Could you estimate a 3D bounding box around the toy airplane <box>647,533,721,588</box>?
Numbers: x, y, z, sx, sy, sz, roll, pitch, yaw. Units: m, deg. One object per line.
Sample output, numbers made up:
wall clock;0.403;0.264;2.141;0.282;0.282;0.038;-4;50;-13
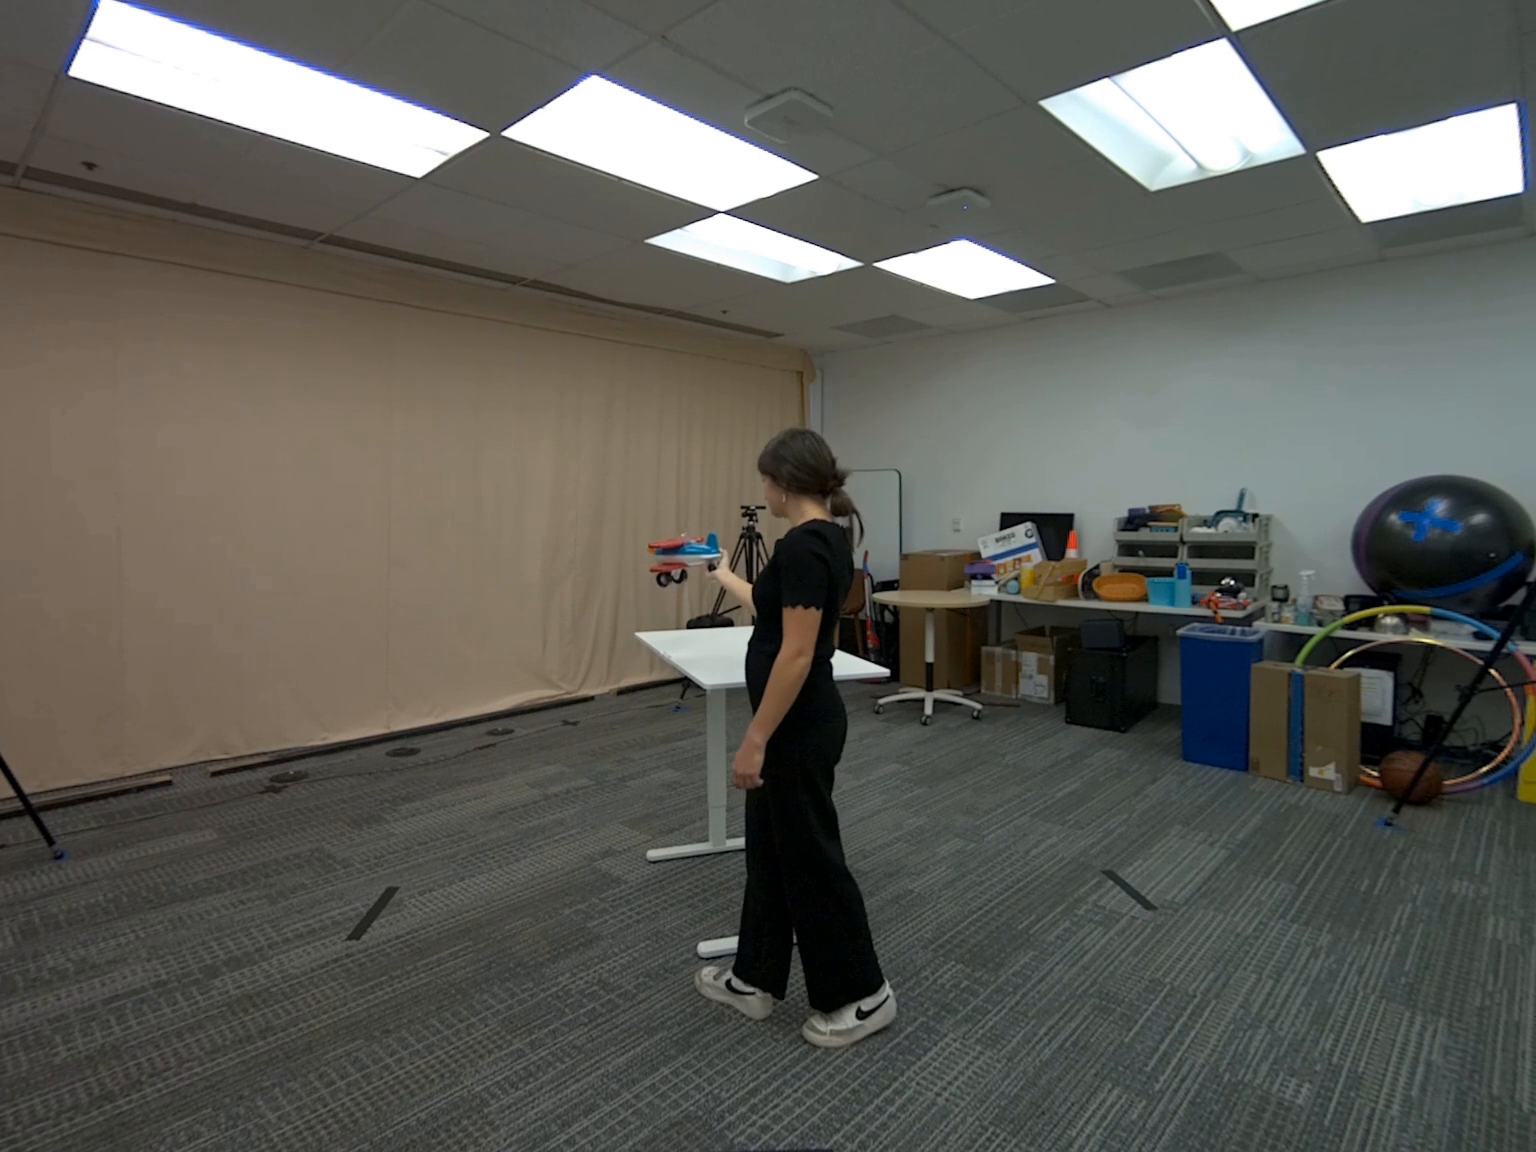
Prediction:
toy airplane;-0.257;-0.064;2.816;0.260;0.157;0.249;-16;-1;4
